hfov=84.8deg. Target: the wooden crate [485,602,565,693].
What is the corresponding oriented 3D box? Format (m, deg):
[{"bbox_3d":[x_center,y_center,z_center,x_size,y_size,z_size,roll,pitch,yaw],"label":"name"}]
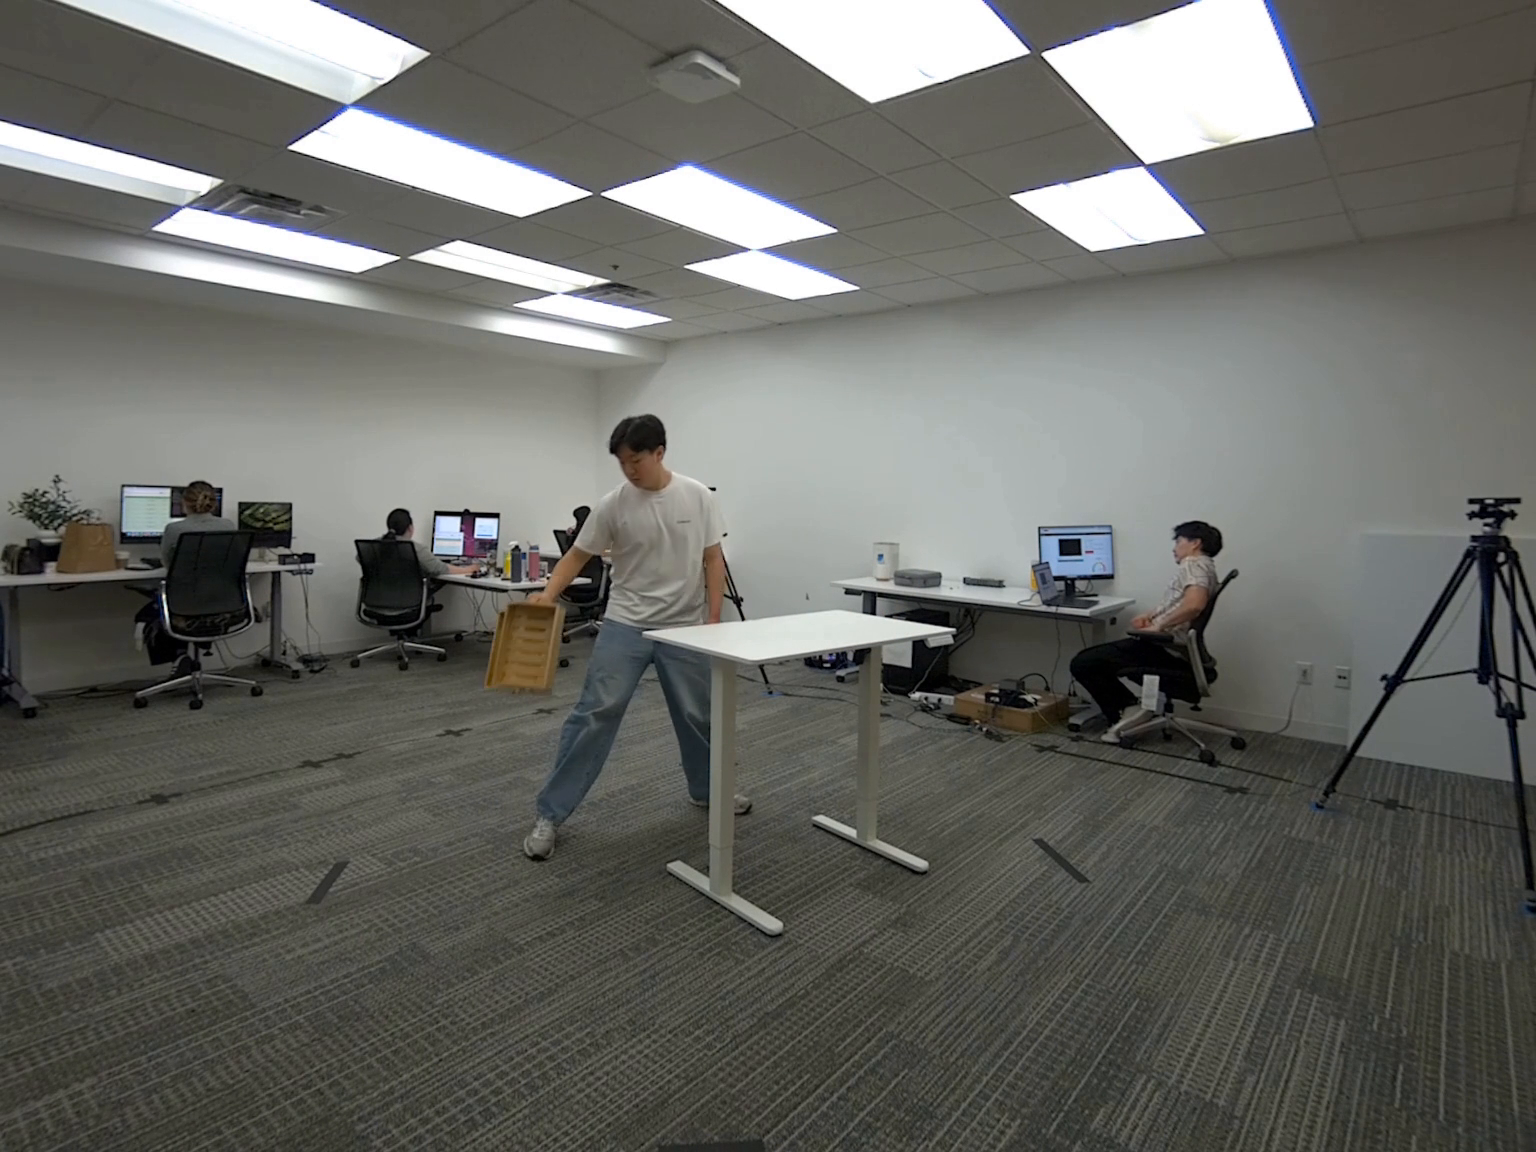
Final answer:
[{"bbox_3d":[-0.910,0.263,3.111,0.303,0.329,0.268,5,-17,2],"label":"wooden crate"}]
